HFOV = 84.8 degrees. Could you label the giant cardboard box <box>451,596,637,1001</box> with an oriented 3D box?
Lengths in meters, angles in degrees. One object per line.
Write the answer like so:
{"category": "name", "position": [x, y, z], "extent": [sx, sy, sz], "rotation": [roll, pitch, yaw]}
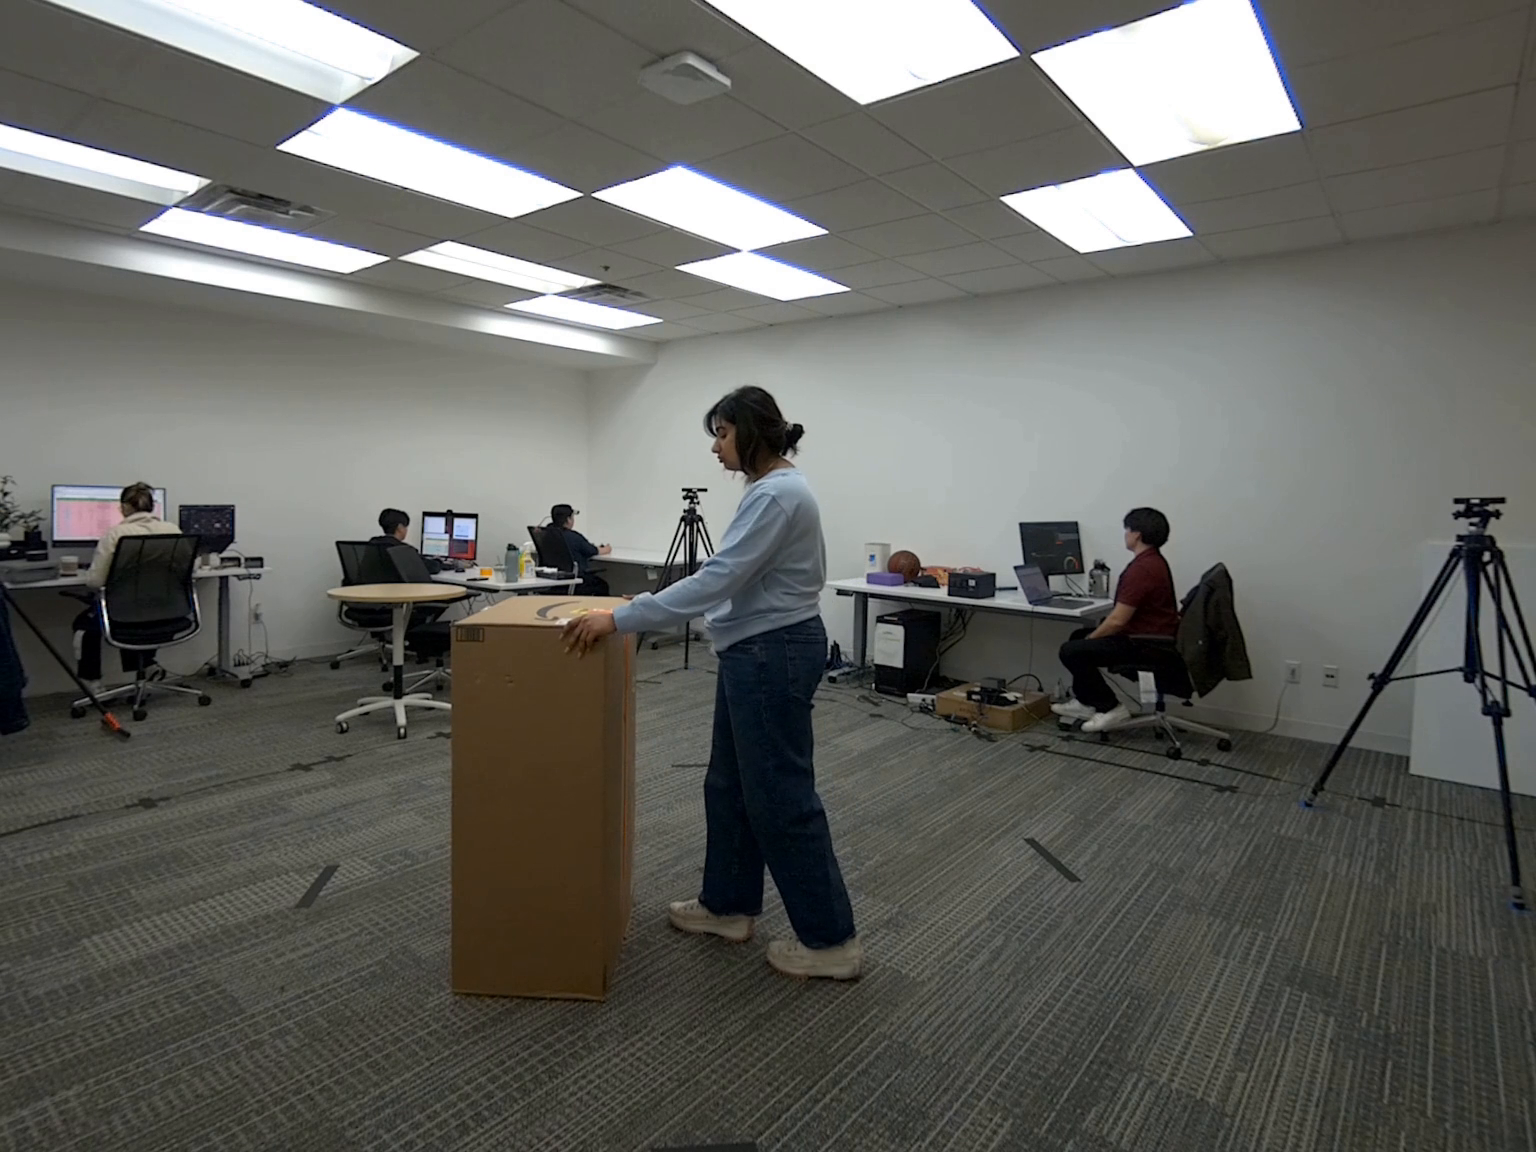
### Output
{"category": "giant cardboard box", "position": [-0.658, 0.604, 2.564], "extent": [0.448, 1.024, 0.584], "rotation": [2, 3, 2]}
